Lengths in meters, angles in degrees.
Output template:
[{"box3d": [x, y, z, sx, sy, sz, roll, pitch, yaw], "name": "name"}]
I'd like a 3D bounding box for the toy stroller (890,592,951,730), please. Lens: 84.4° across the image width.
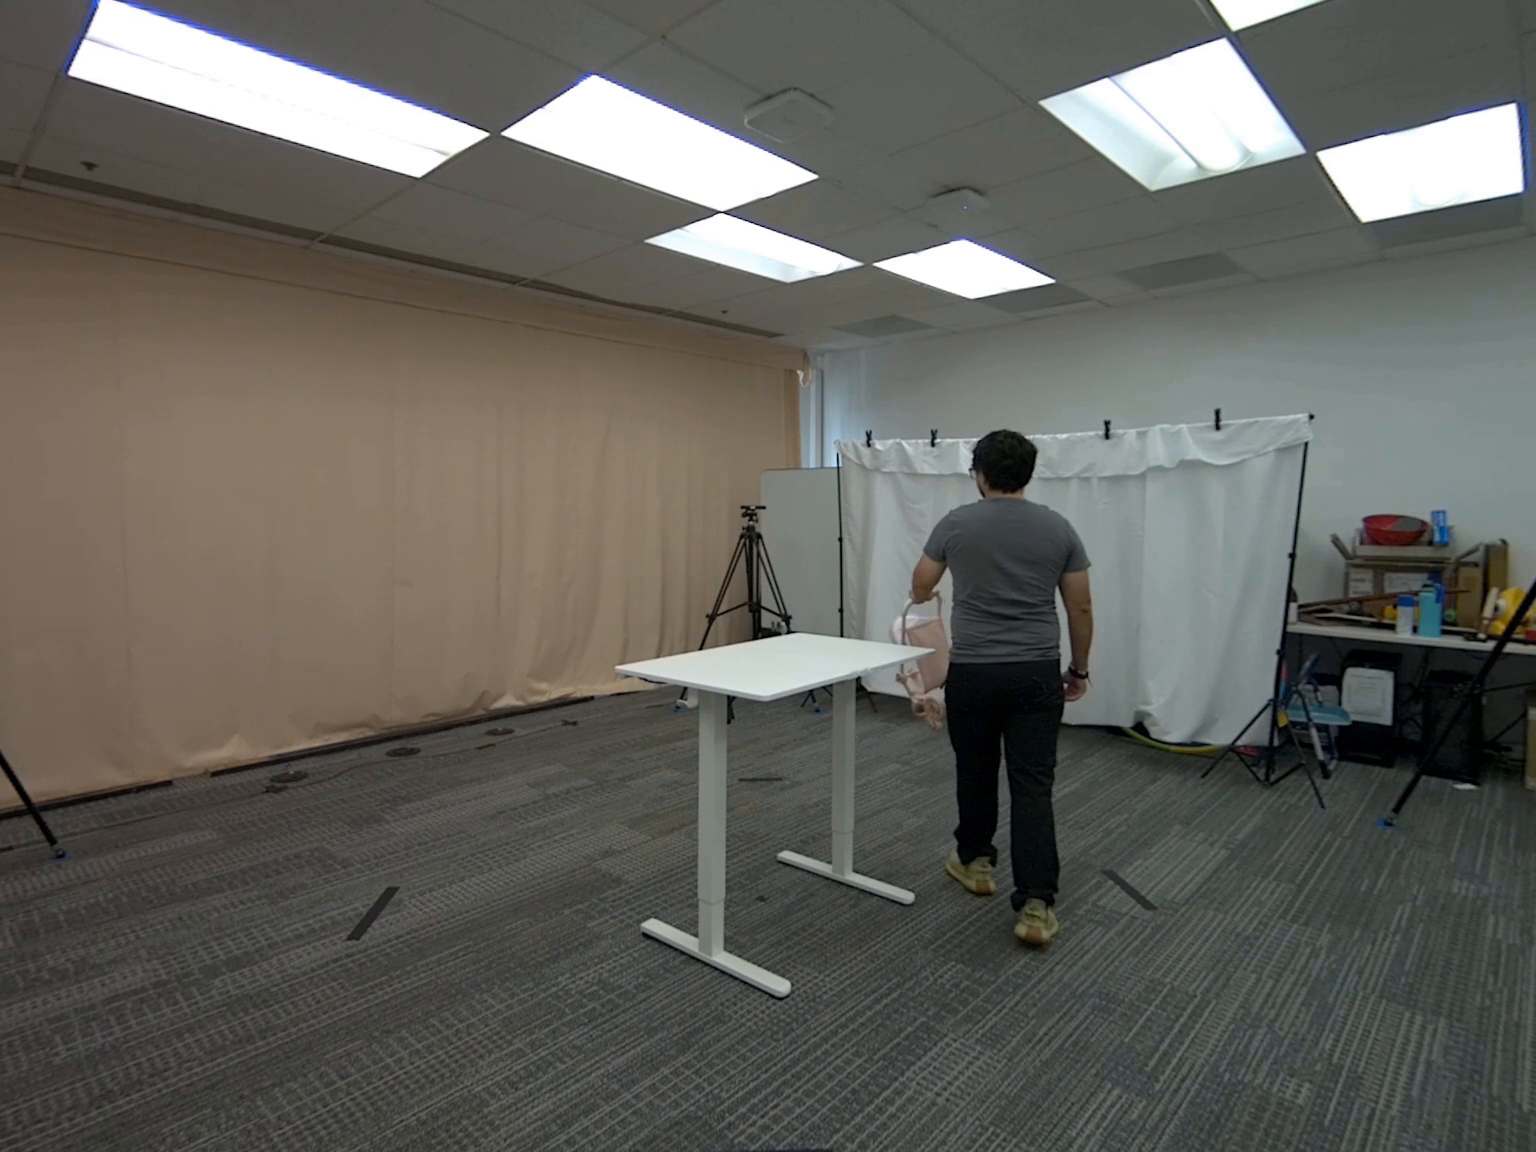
[{"box3d": [0.664, 0.366, 3.457, 0.277, 0.541, 0.343, -18, -11, -23], "name": "toy stroller"}]
